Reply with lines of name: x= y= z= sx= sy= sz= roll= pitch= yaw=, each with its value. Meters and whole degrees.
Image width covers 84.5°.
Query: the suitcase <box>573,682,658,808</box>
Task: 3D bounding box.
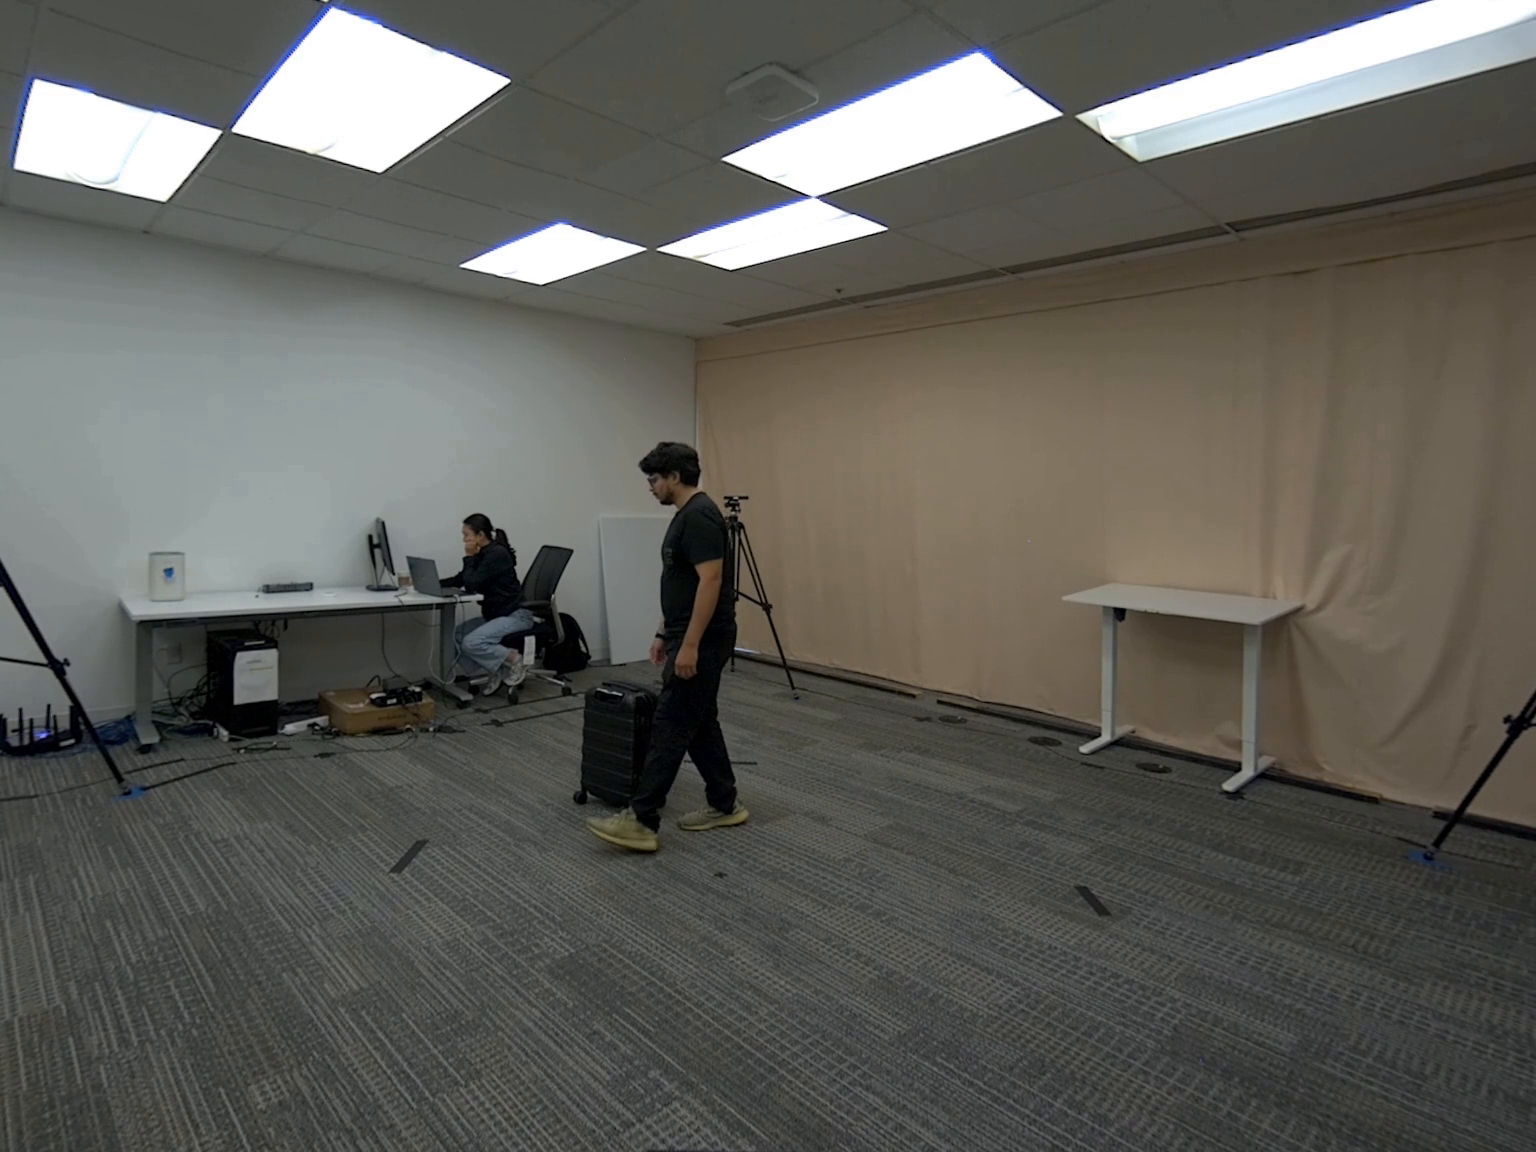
suitcase: x=-0.655 y=0.755 z=3.802 sx=0.384 sy=0.549 sz=0.242 roll=5 pitch=2 yaw=35
